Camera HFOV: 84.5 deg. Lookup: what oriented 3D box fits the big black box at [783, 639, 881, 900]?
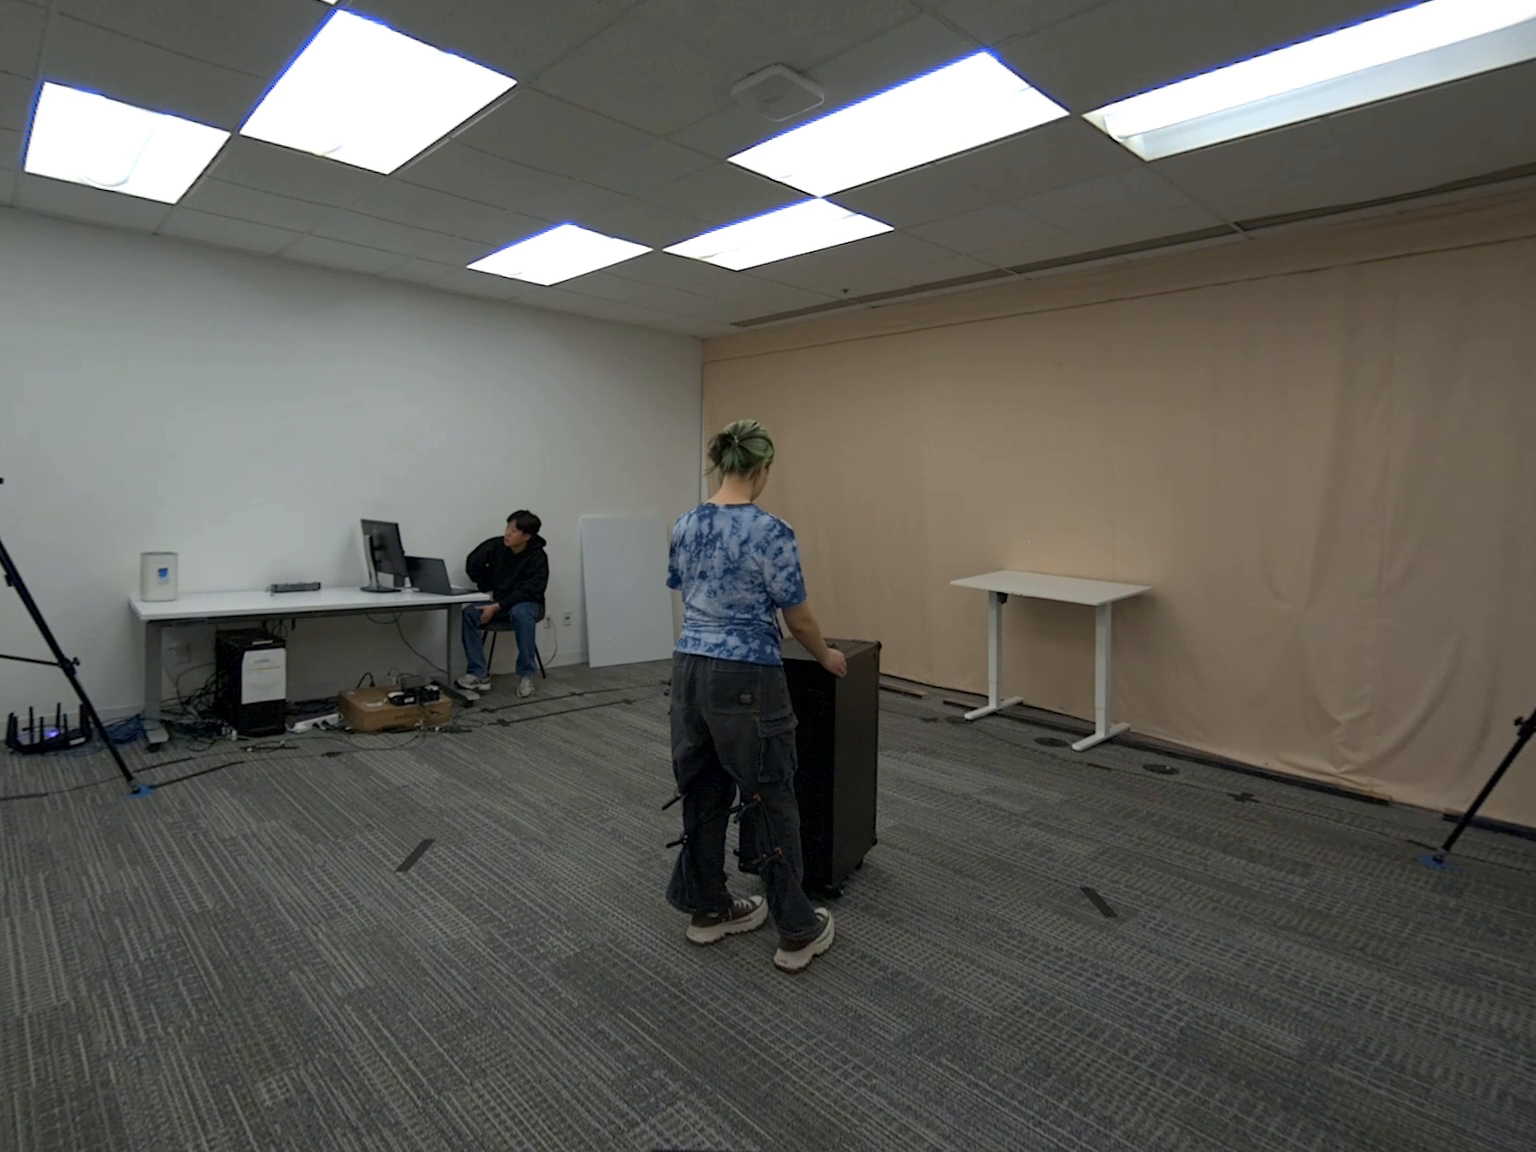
[{"bbox_3d":[0.150,0.688,3.095,0.404,0.859,0.512,2,4,26],"label":"big black box"}]
